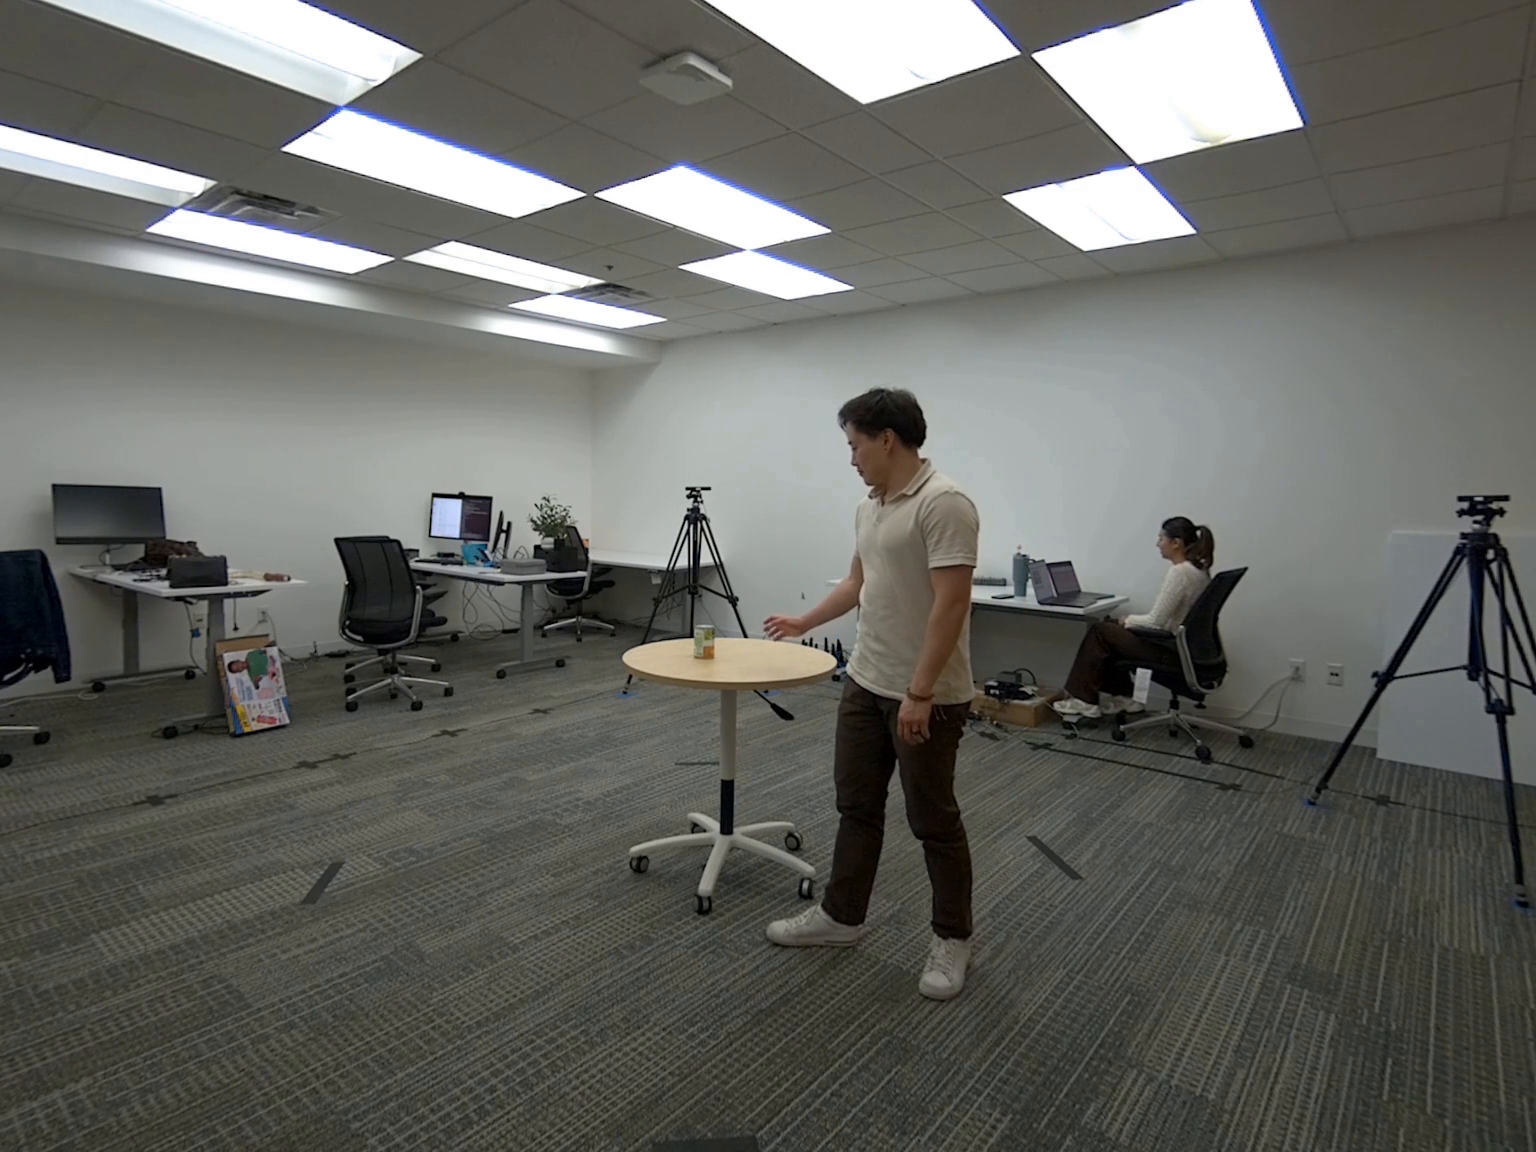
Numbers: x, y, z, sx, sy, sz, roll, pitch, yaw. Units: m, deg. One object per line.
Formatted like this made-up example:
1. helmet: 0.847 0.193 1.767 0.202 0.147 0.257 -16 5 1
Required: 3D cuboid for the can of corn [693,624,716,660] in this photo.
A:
1. can of corn: -0.237 0.233 3.040 0.074 0.110 0.074 -1 5 -2
